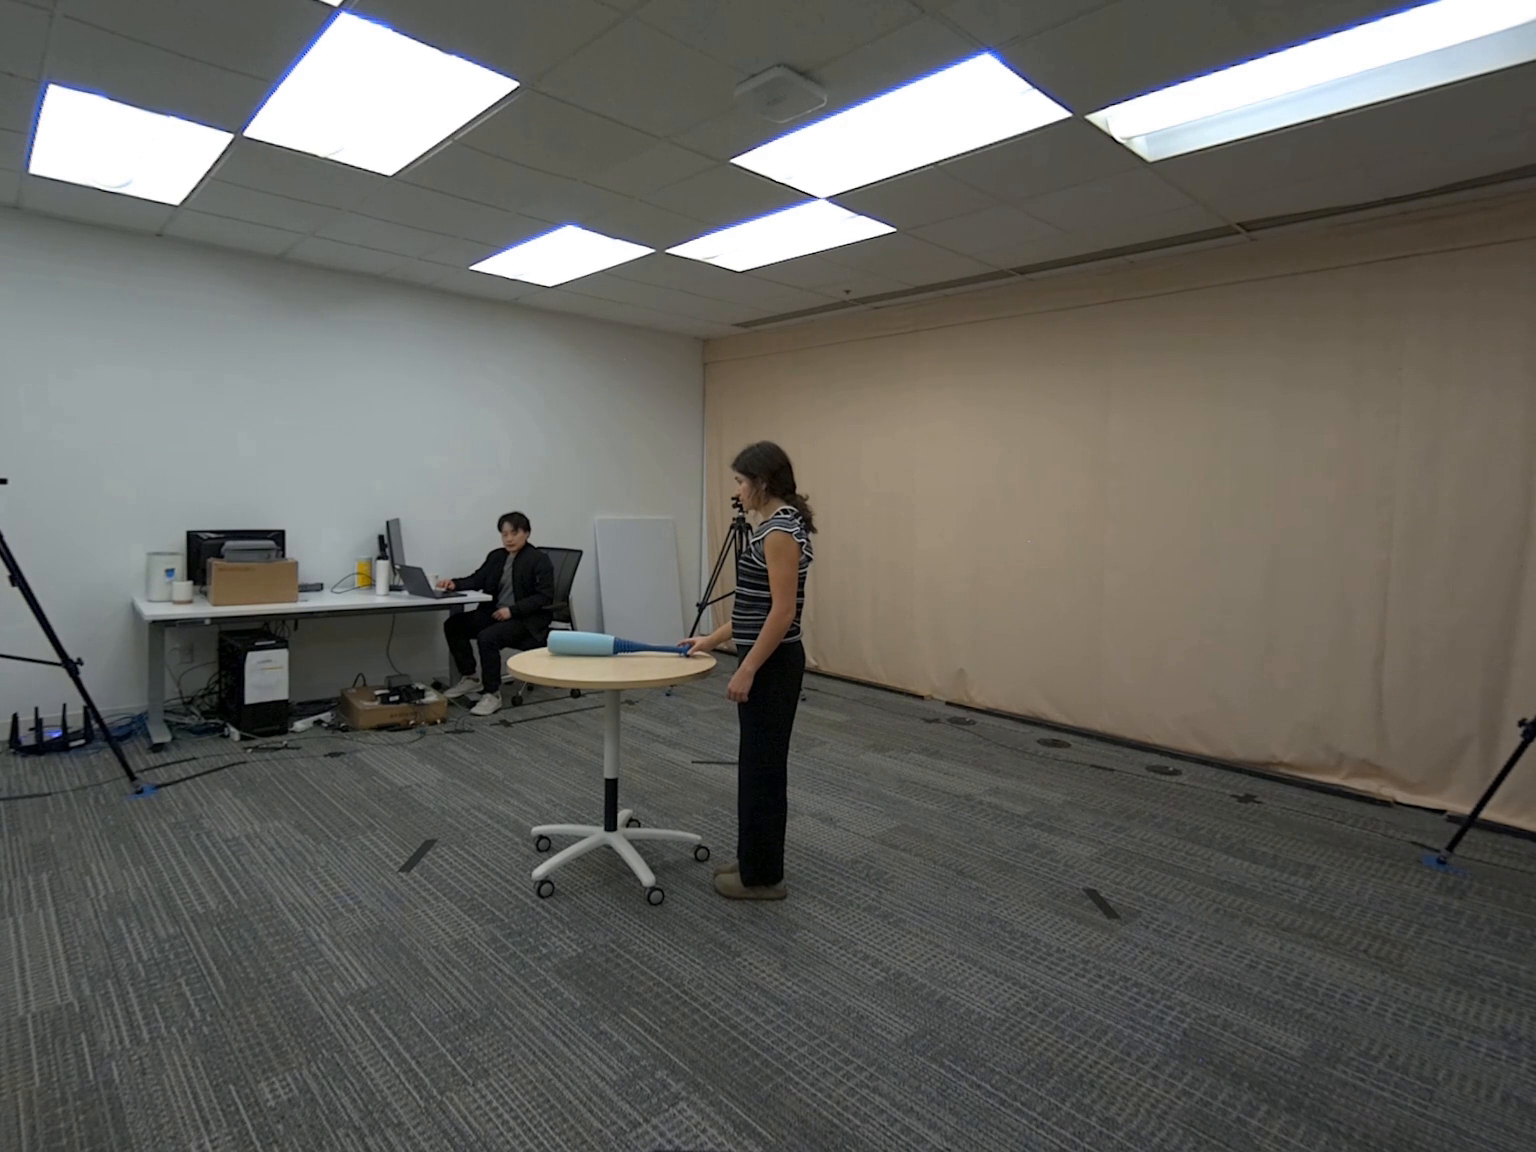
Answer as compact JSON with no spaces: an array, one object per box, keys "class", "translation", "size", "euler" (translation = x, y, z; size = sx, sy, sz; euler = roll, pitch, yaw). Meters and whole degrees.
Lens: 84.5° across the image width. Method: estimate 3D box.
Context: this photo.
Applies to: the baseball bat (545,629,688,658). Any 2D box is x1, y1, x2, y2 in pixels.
[{"class":"baseball bat","translation":[-0.566,0.269,3.194],"size":[0.543,0.089,0.089],"euler":[4,4,-1]}]
